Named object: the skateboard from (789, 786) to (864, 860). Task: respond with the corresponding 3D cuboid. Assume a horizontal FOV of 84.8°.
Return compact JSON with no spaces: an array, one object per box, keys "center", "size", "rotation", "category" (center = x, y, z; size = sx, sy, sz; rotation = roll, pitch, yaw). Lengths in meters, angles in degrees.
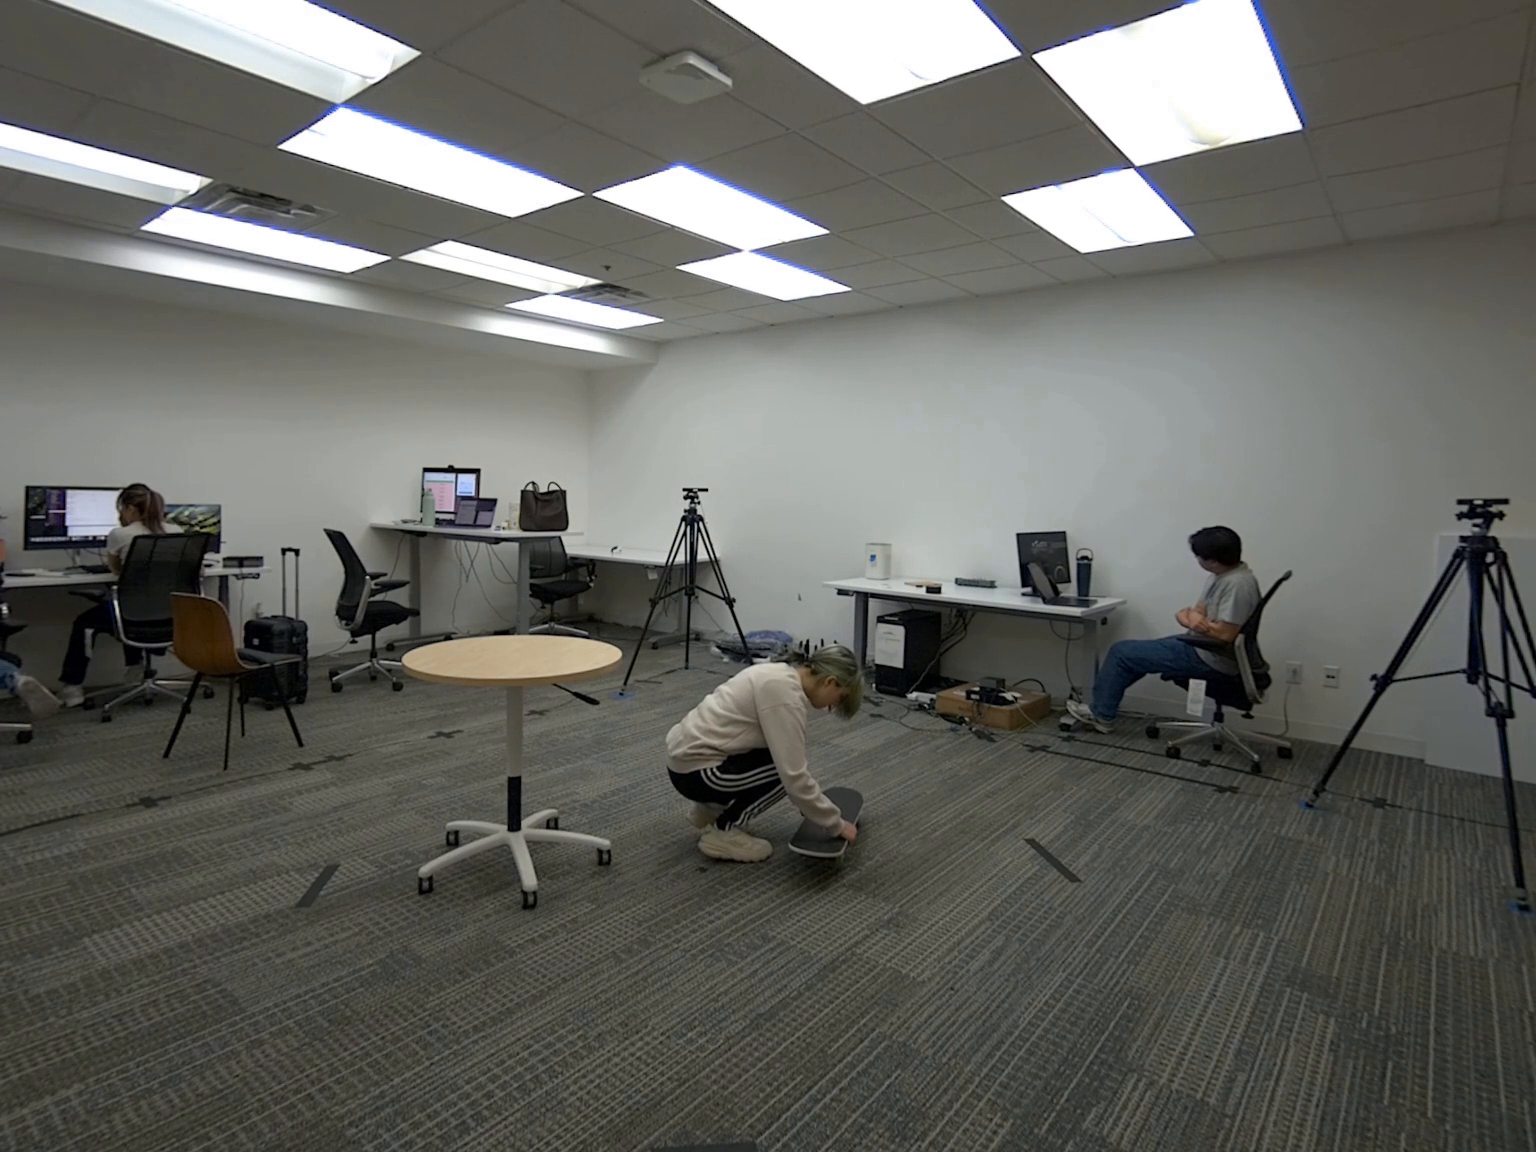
[{"center":[0.236,0.980,3.303],"size":[0.197,0.110,0.774],"rotation":[5,4,14],"category":"skateboard"}]
